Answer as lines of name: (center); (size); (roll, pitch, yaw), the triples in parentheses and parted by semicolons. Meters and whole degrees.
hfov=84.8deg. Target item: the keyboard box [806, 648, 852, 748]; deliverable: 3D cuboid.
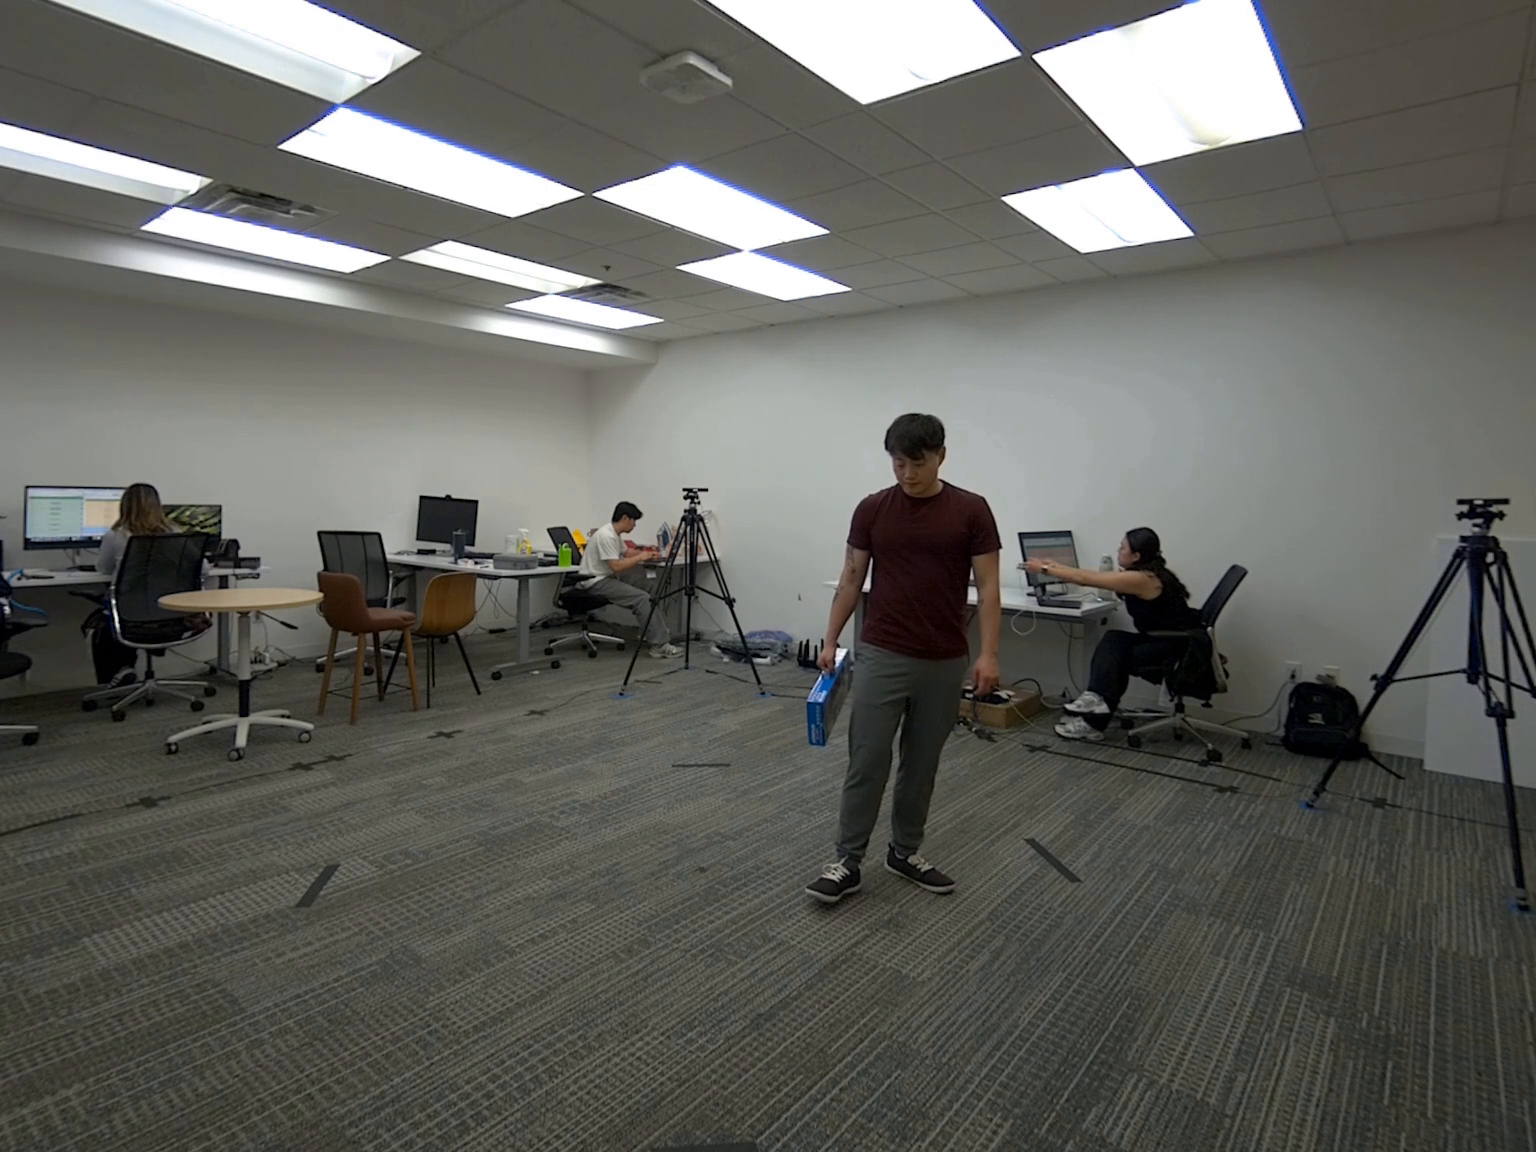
keyboard box: (0.219, 0.433, 3.119); (0.060, 0.173, 0.436); (3, 21, 16)
